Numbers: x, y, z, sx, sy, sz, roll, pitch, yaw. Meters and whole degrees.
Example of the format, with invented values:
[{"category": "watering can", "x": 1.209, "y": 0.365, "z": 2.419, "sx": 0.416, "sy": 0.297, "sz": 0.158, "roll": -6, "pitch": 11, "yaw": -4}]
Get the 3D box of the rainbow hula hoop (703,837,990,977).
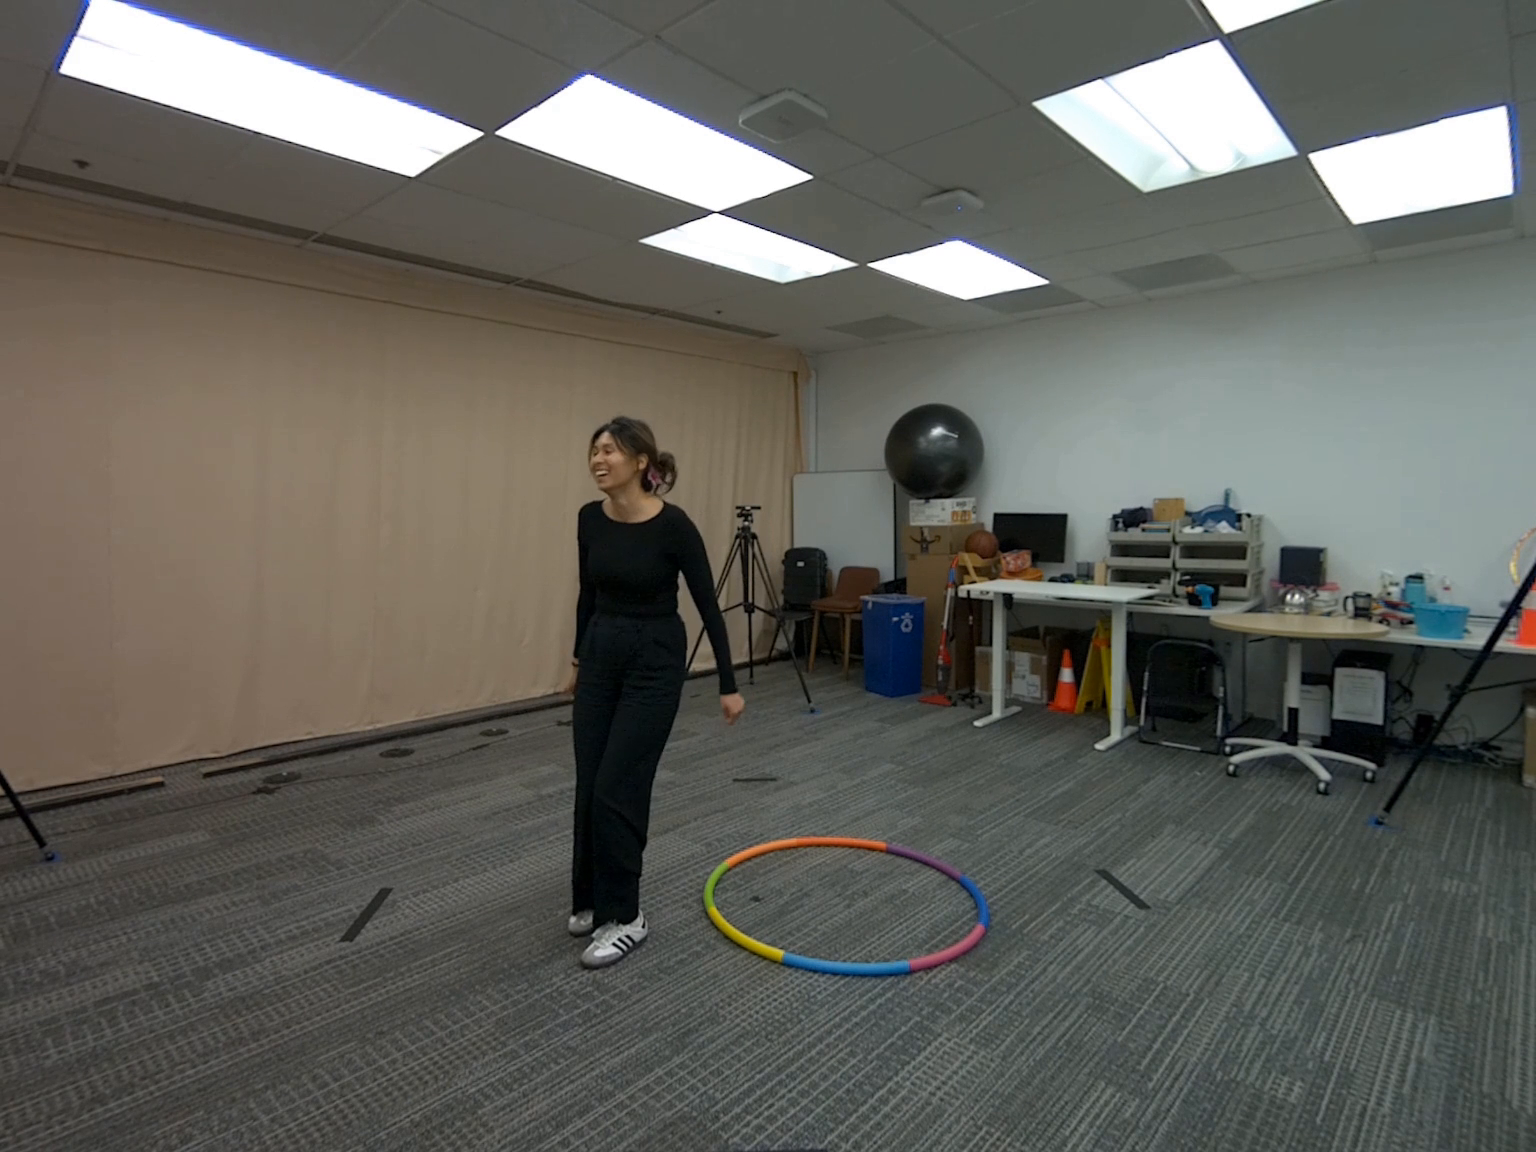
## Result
[{"category": "rainbow hula hoop", "x": 0.263, "y": 1.115, "z": 2.967, "sx": 0.978, "sy": 0.035, "sz": 0.982, "roll": 0, "pitch": 5, "yaw": -2}]
